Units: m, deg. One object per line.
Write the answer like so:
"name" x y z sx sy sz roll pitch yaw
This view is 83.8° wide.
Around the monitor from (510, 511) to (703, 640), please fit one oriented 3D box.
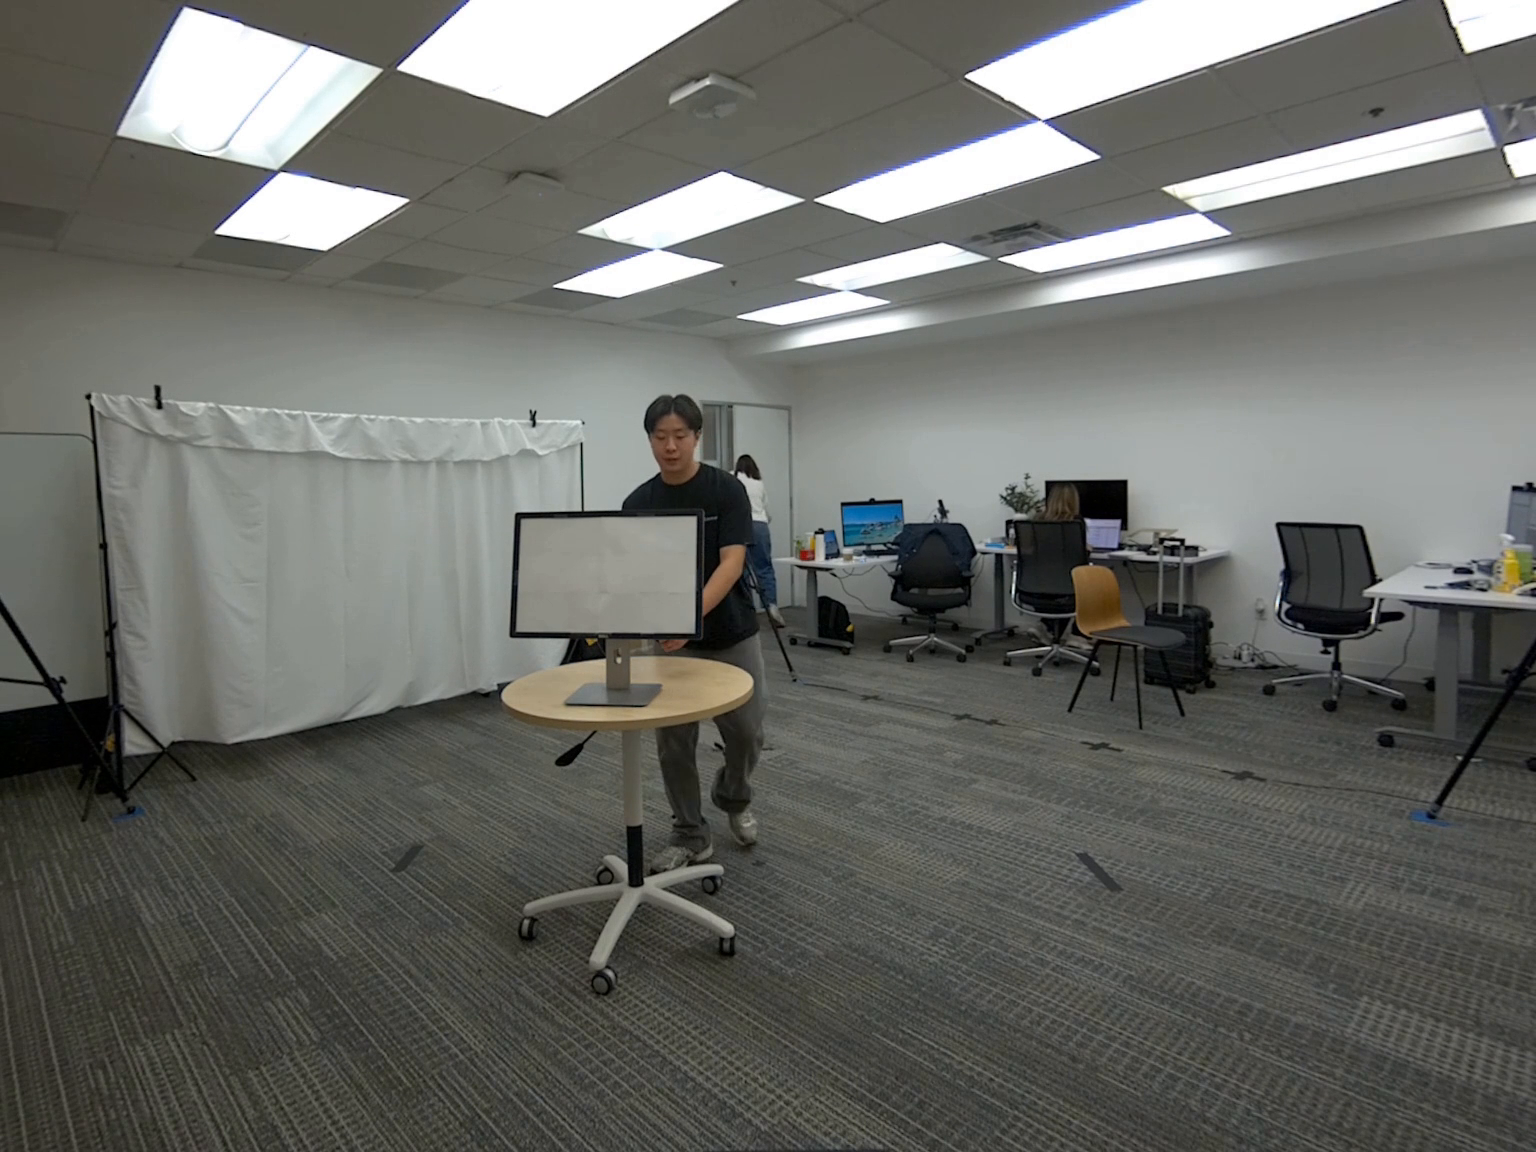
"monitor" -0.451 0.097 2.455 0.568 0.562 0.221 0 7 11
